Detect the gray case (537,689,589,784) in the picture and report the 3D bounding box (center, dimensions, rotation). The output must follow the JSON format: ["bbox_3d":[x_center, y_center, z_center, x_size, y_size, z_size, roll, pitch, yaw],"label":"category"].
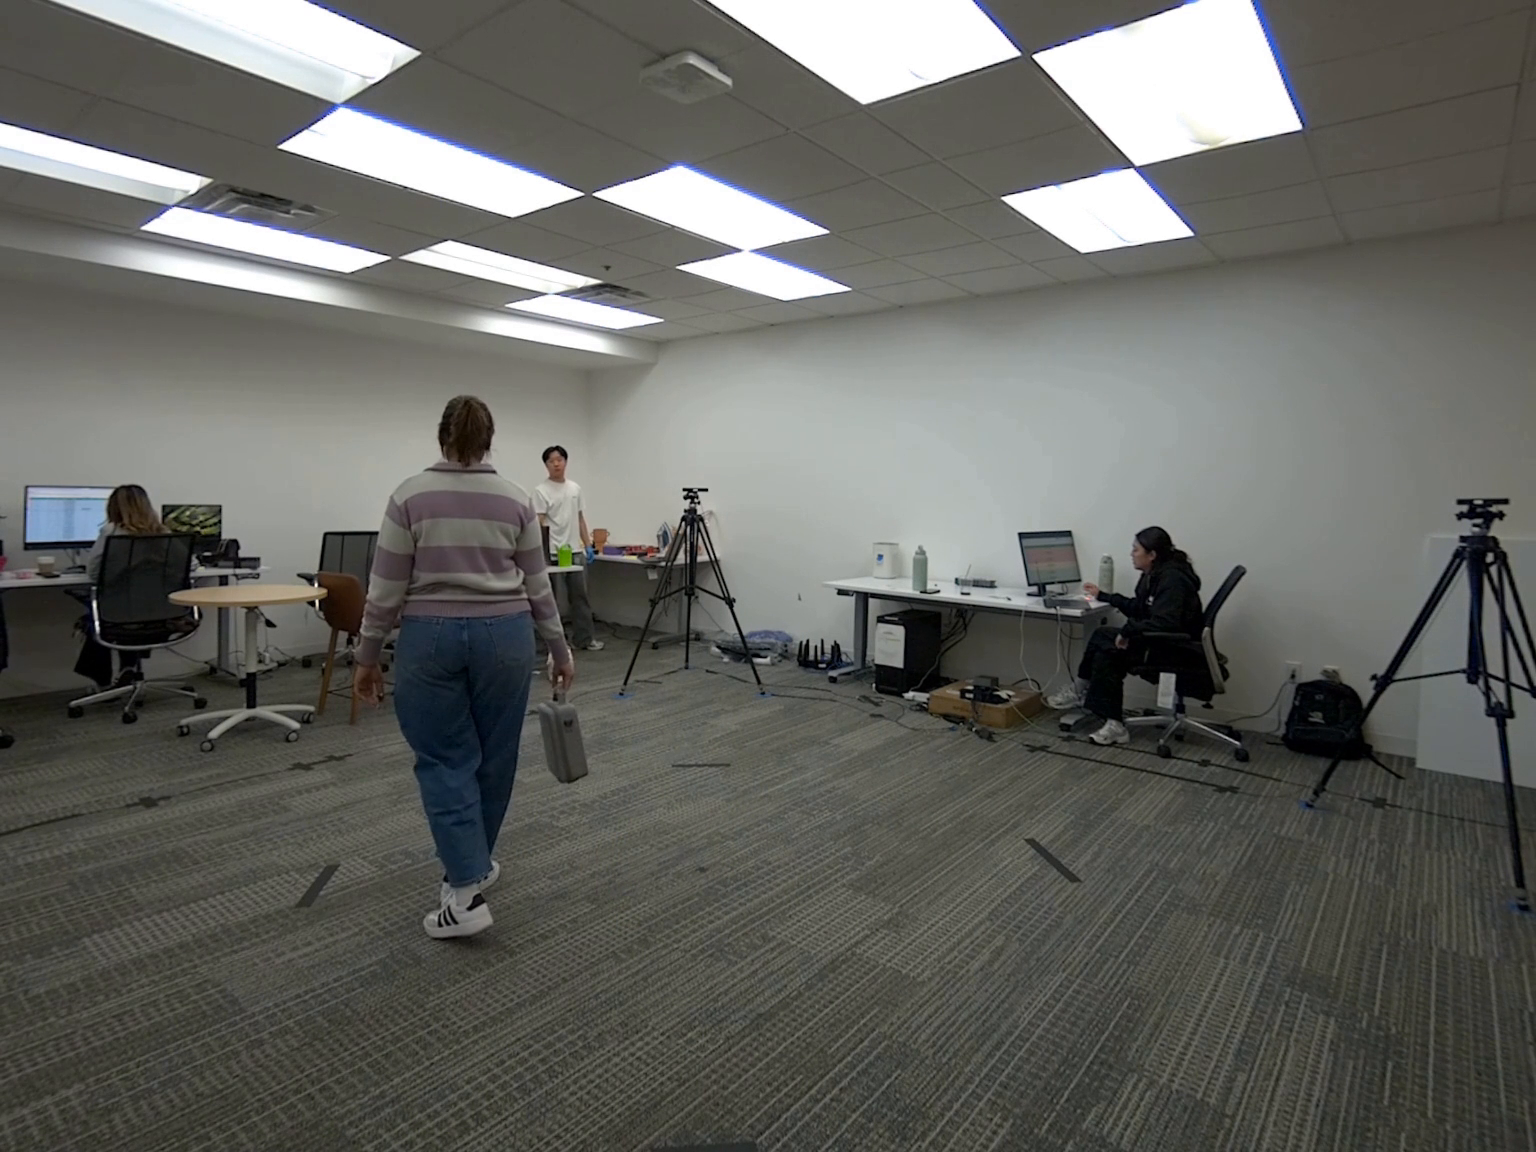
[{"bbox_3d":[-0.724,0.557,2.923,0.102,0.261,0.261,-7,1,-21],"label":"gray case"}]
